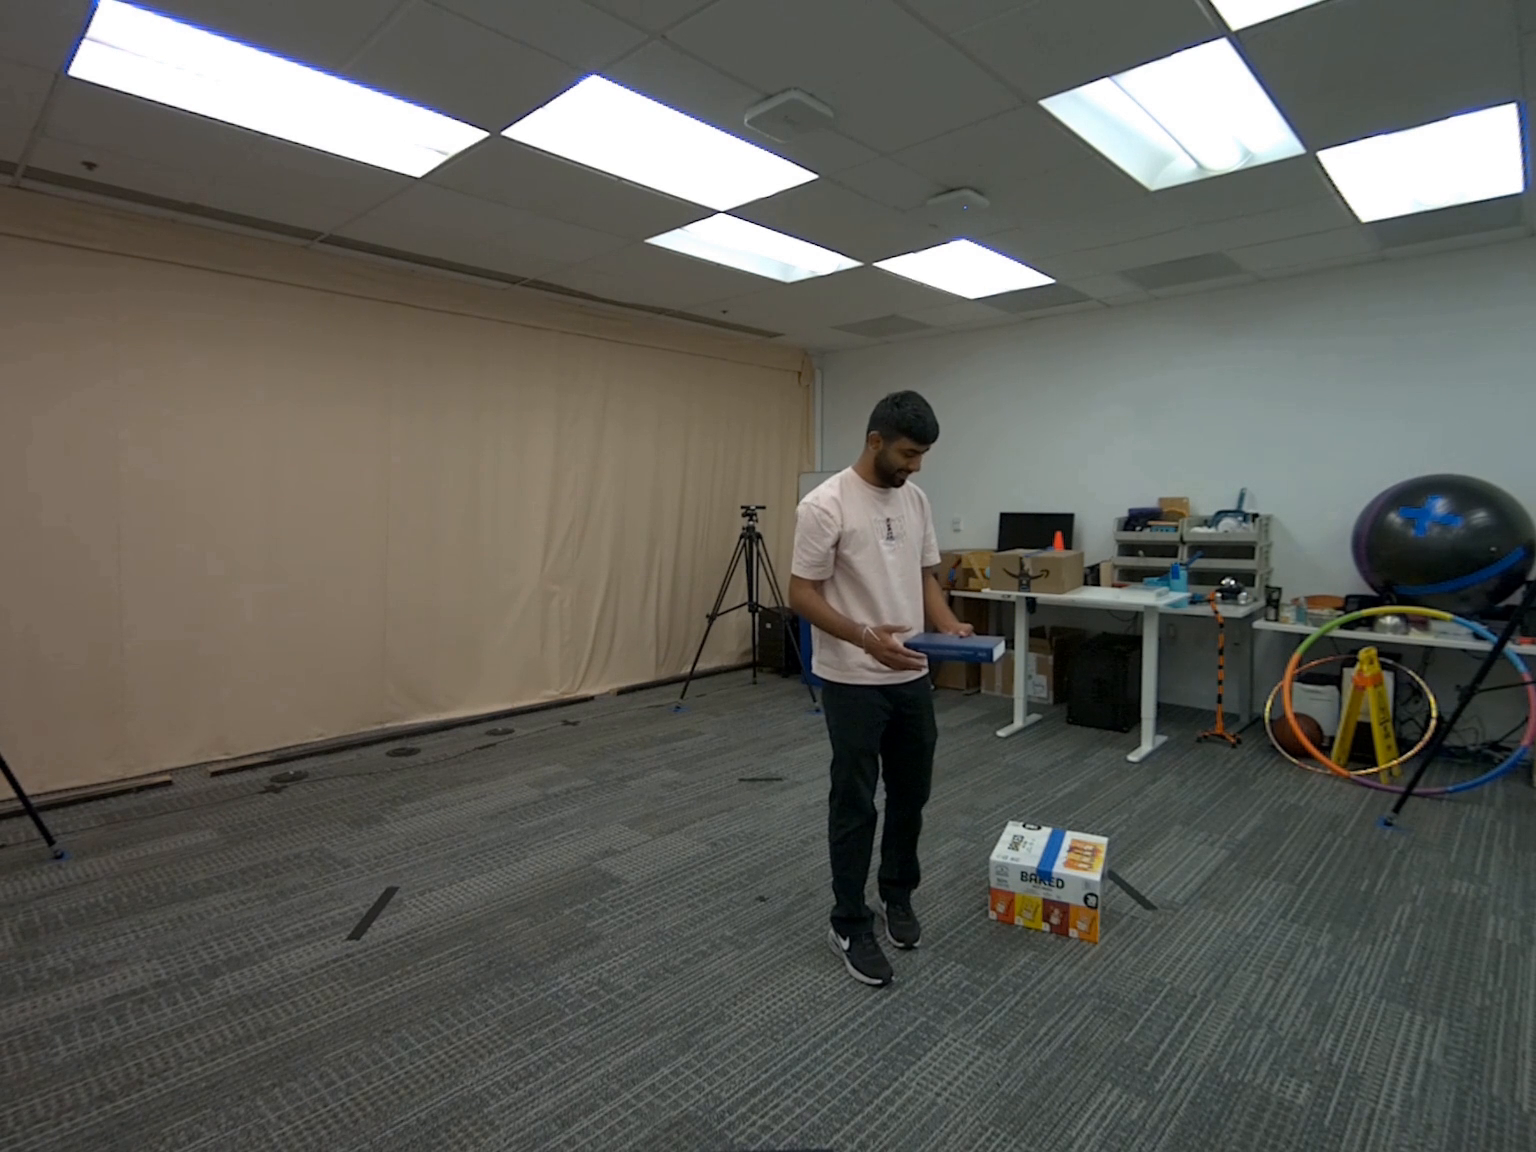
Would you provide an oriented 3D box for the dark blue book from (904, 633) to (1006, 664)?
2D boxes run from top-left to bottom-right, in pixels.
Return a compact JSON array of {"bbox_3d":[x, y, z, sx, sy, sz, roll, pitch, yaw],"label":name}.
[{"bbox_3d":[0.519,0.200,2.337,0.252,0.045,0.159,1,6,28],"label":"dark blue book"}]
